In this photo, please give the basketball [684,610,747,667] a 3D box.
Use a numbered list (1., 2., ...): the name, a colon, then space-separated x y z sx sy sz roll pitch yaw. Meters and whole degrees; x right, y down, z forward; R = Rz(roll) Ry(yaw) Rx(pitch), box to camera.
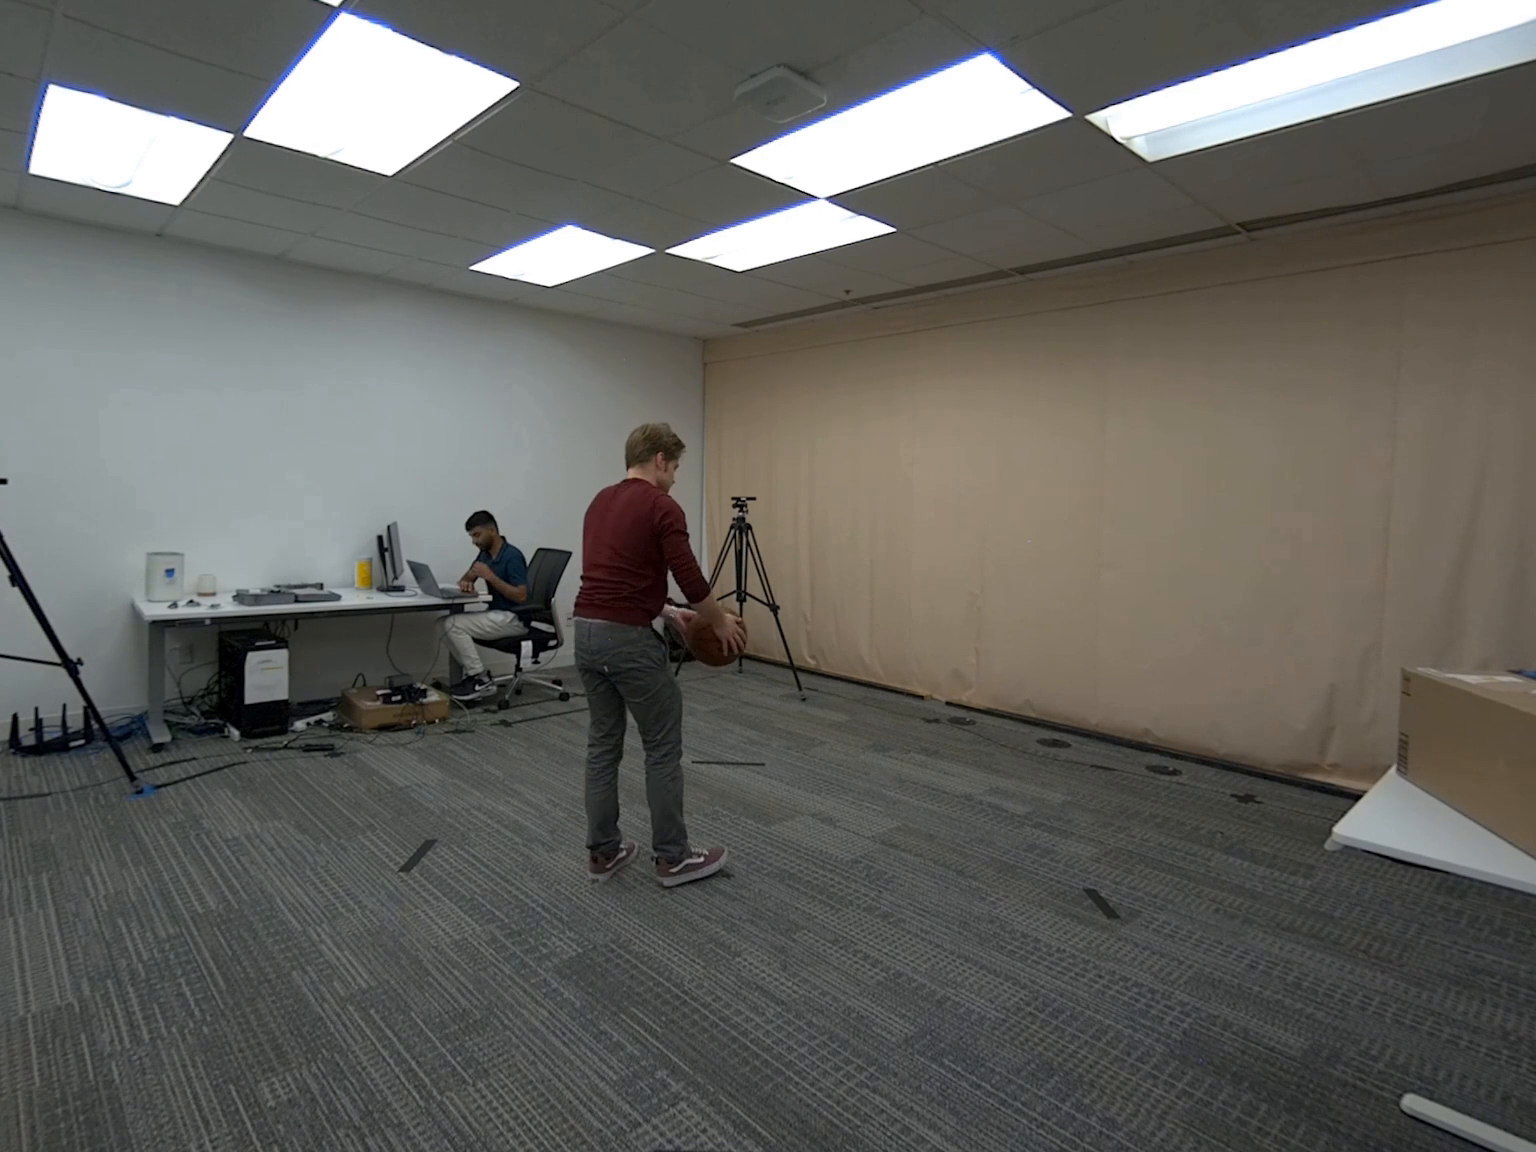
1. basketball: -0.211 0.241 3.316 0.236 0.235 0.237 1 4 -1
